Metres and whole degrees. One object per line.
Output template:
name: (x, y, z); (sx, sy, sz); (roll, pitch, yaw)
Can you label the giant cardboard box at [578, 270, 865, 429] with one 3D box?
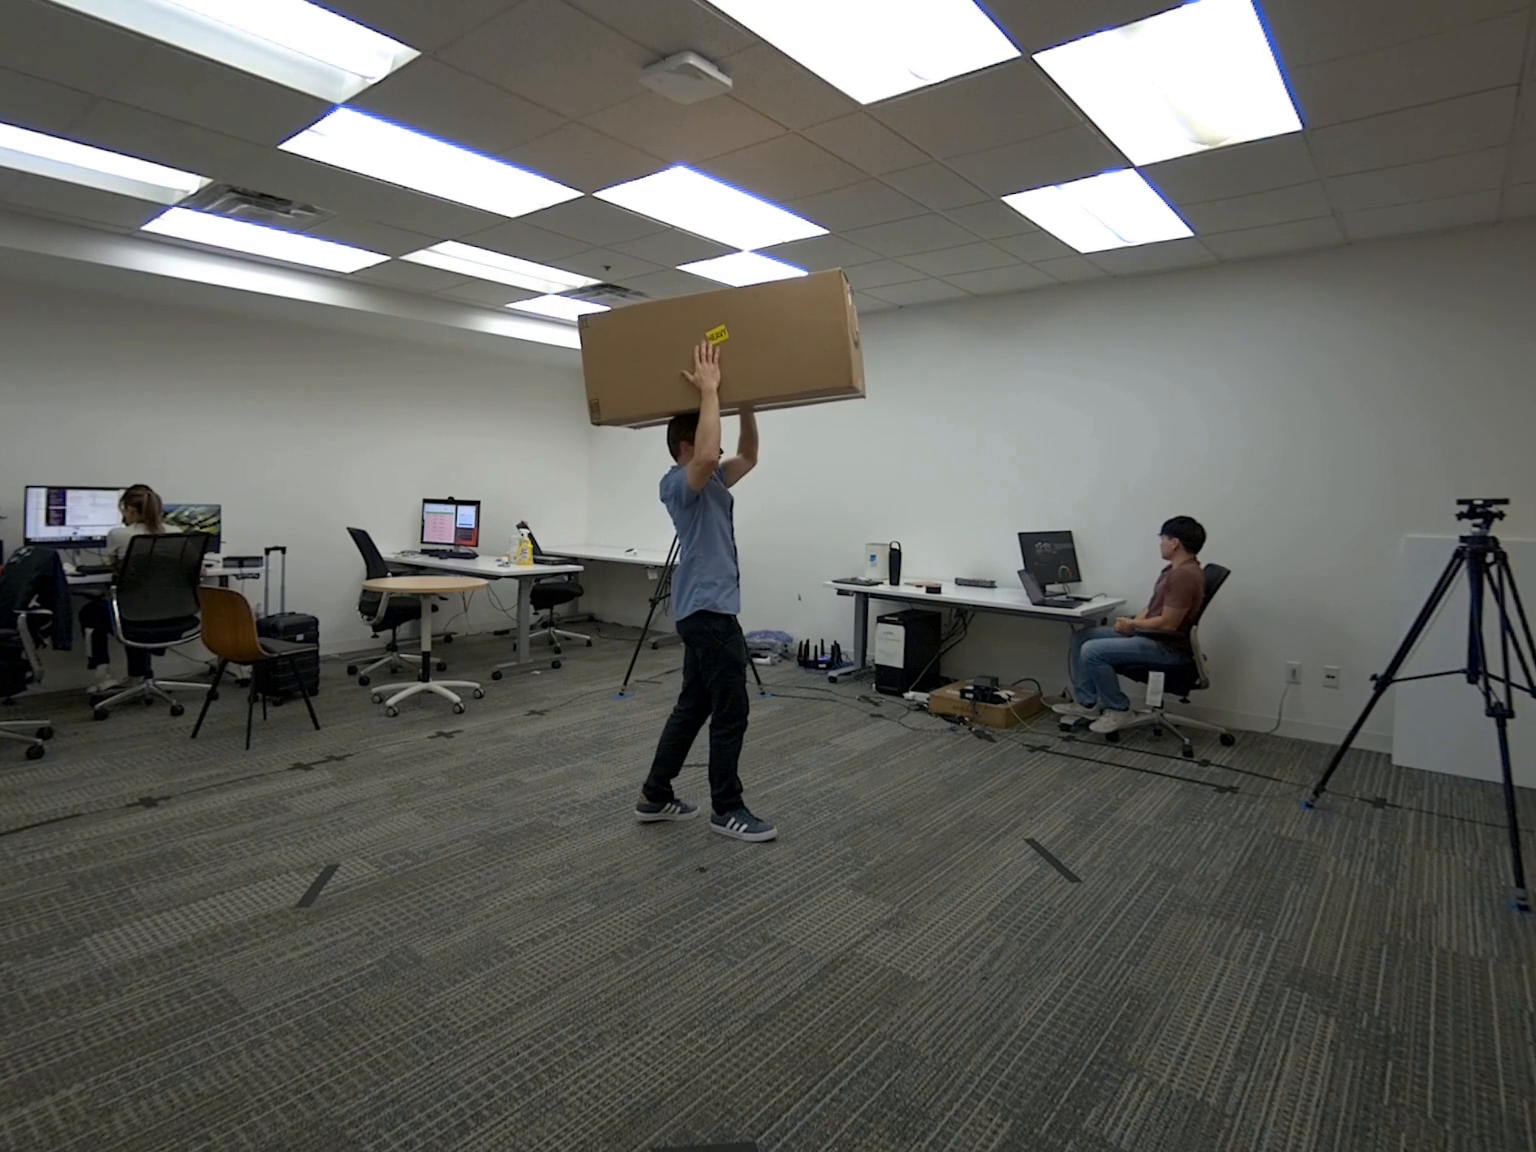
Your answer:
giant cardboard box: (-0.171, -0.881, 3.410); (1.041, 0.424, 0.572); (-5, 6, 14)
